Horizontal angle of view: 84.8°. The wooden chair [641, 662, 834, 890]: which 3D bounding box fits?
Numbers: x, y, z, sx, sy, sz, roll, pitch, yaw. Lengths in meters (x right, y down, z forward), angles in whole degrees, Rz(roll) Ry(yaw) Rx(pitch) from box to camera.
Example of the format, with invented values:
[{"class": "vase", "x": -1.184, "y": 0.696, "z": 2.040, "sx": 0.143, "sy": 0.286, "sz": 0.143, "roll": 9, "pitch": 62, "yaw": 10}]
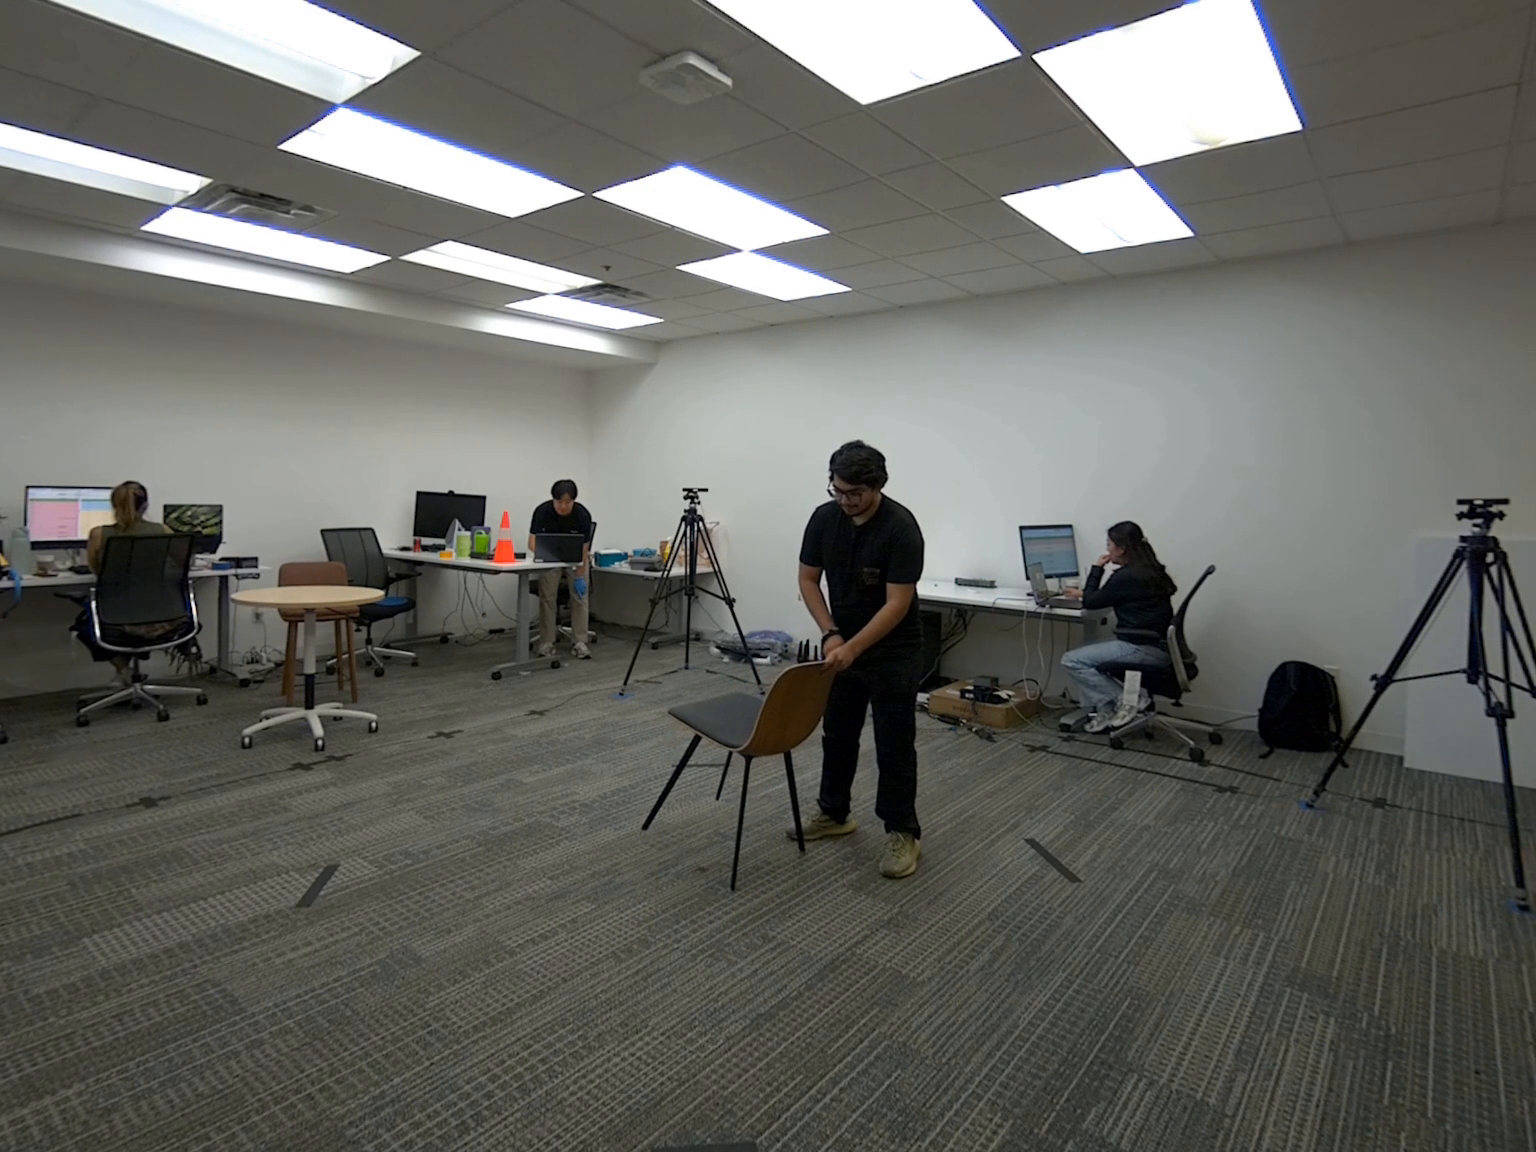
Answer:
[{"class": "wooden chair", "x": -0.102, "y": 0.599, "z": 3.168, "sx": 0.543, "sy": 0.870, "sz": 0.464, "roll": 25, "pitch": 16, "yaw": 33}]
